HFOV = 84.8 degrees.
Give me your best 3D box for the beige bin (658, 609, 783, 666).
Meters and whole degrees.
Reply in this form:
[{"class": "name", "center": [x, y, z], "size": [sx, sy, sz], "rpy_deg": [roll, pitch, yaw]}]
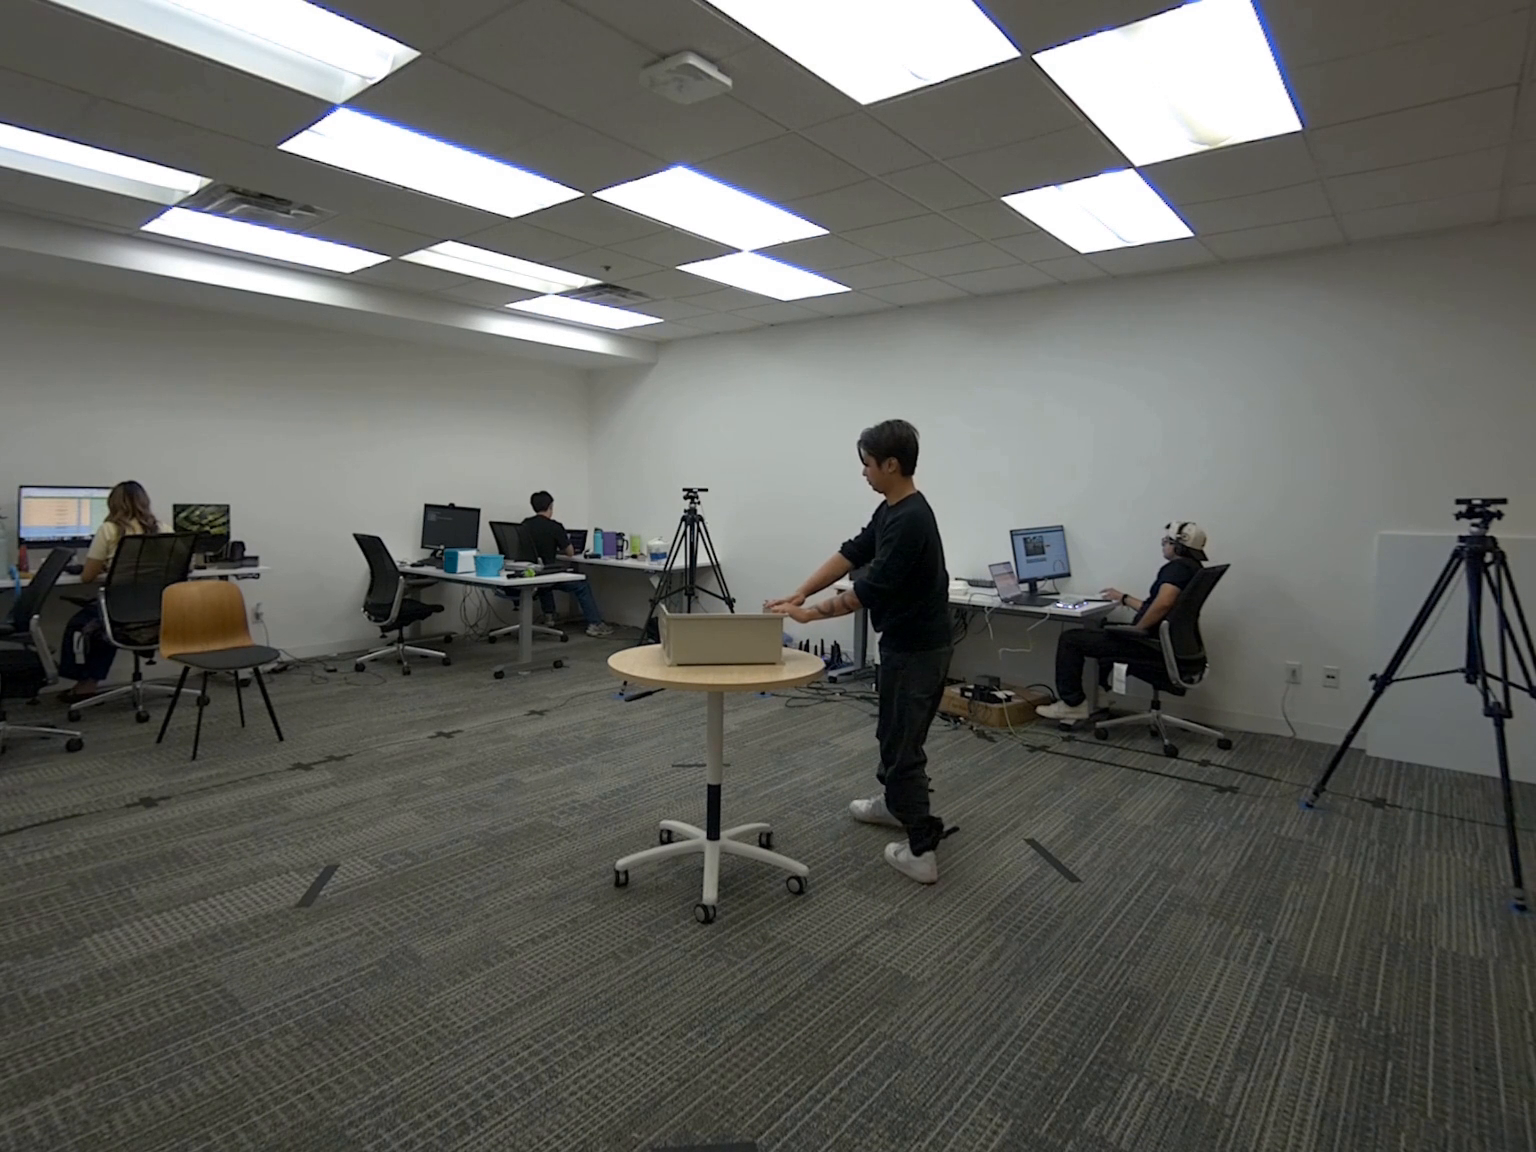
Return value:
[{"class": "beige bin", "center": [-0.186, 0.203, 3.093], "size": [0.418, 0.188, 0.382], "rpy_deg": [0, 4, -9]}]
